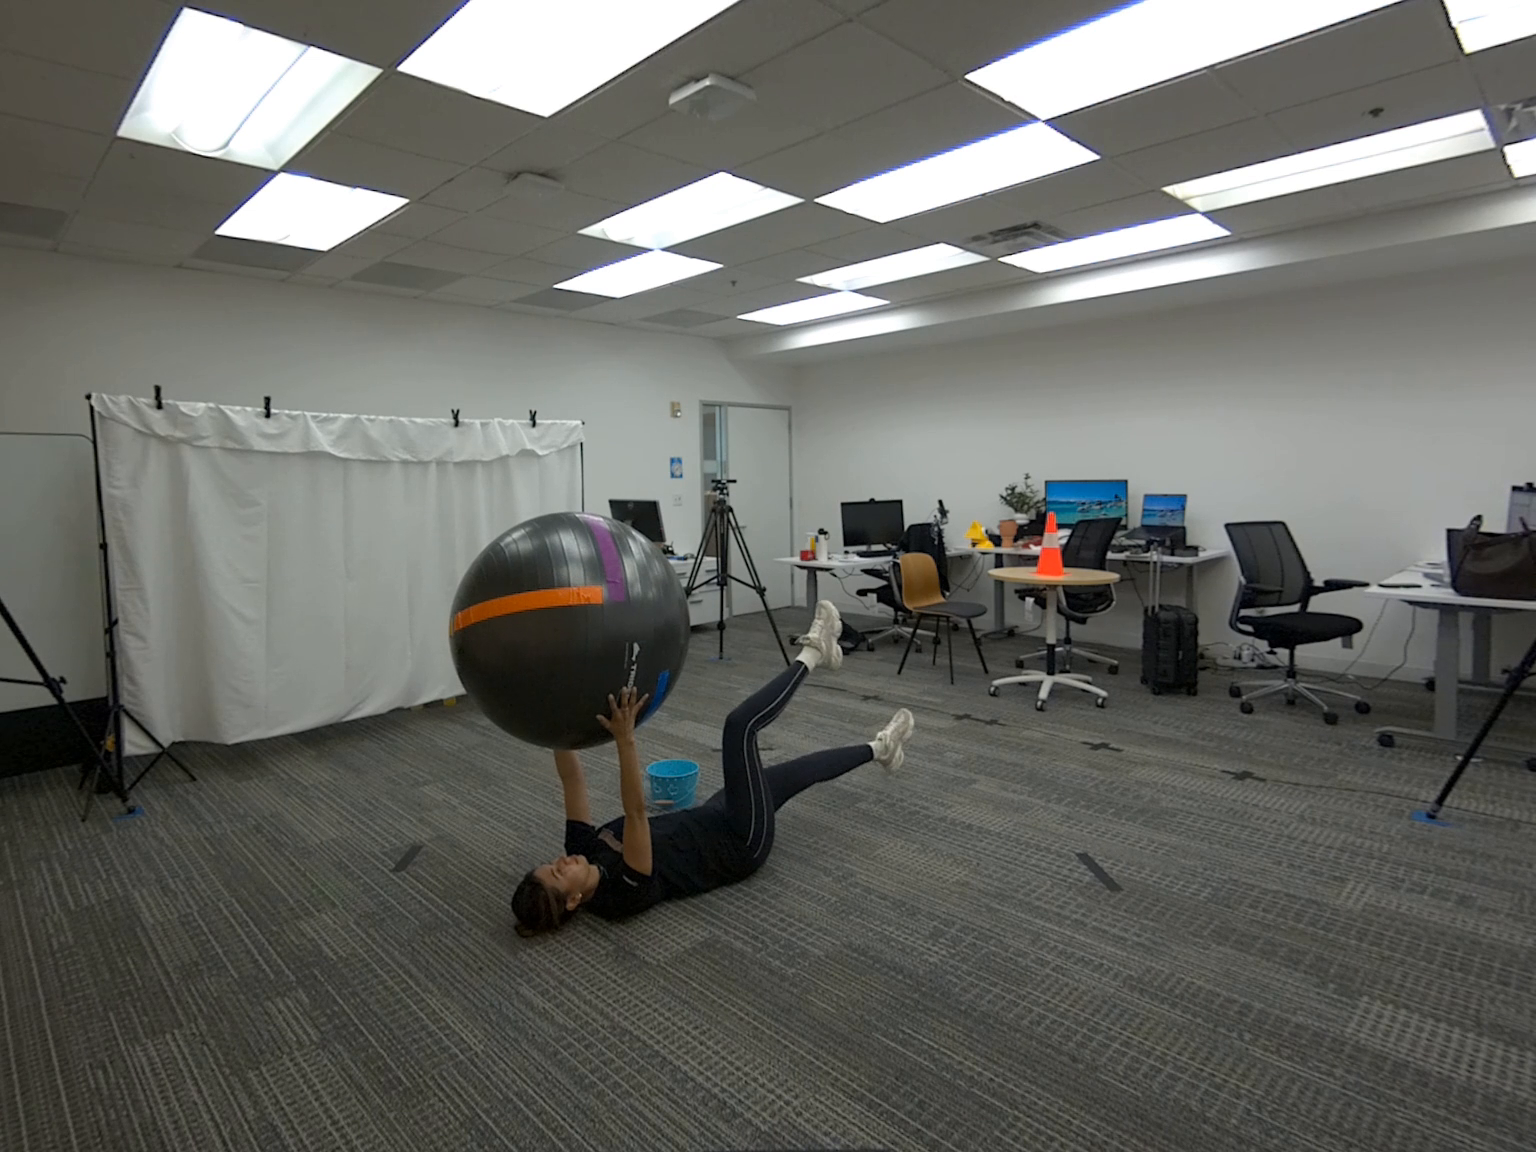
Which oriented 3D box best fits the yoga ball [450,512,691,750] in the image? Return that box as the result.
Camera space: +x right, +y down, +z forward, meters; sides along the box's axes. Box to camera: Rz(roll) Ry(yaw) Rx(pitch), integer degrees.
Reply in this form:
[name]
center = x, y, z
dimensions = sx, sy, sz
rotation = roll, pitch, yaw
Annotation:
[yoga ball]
center = -0.631, 0.173, 2.756
dimensions = 0.757, 0.757, 0.759
rotation = 0, 1, -2
